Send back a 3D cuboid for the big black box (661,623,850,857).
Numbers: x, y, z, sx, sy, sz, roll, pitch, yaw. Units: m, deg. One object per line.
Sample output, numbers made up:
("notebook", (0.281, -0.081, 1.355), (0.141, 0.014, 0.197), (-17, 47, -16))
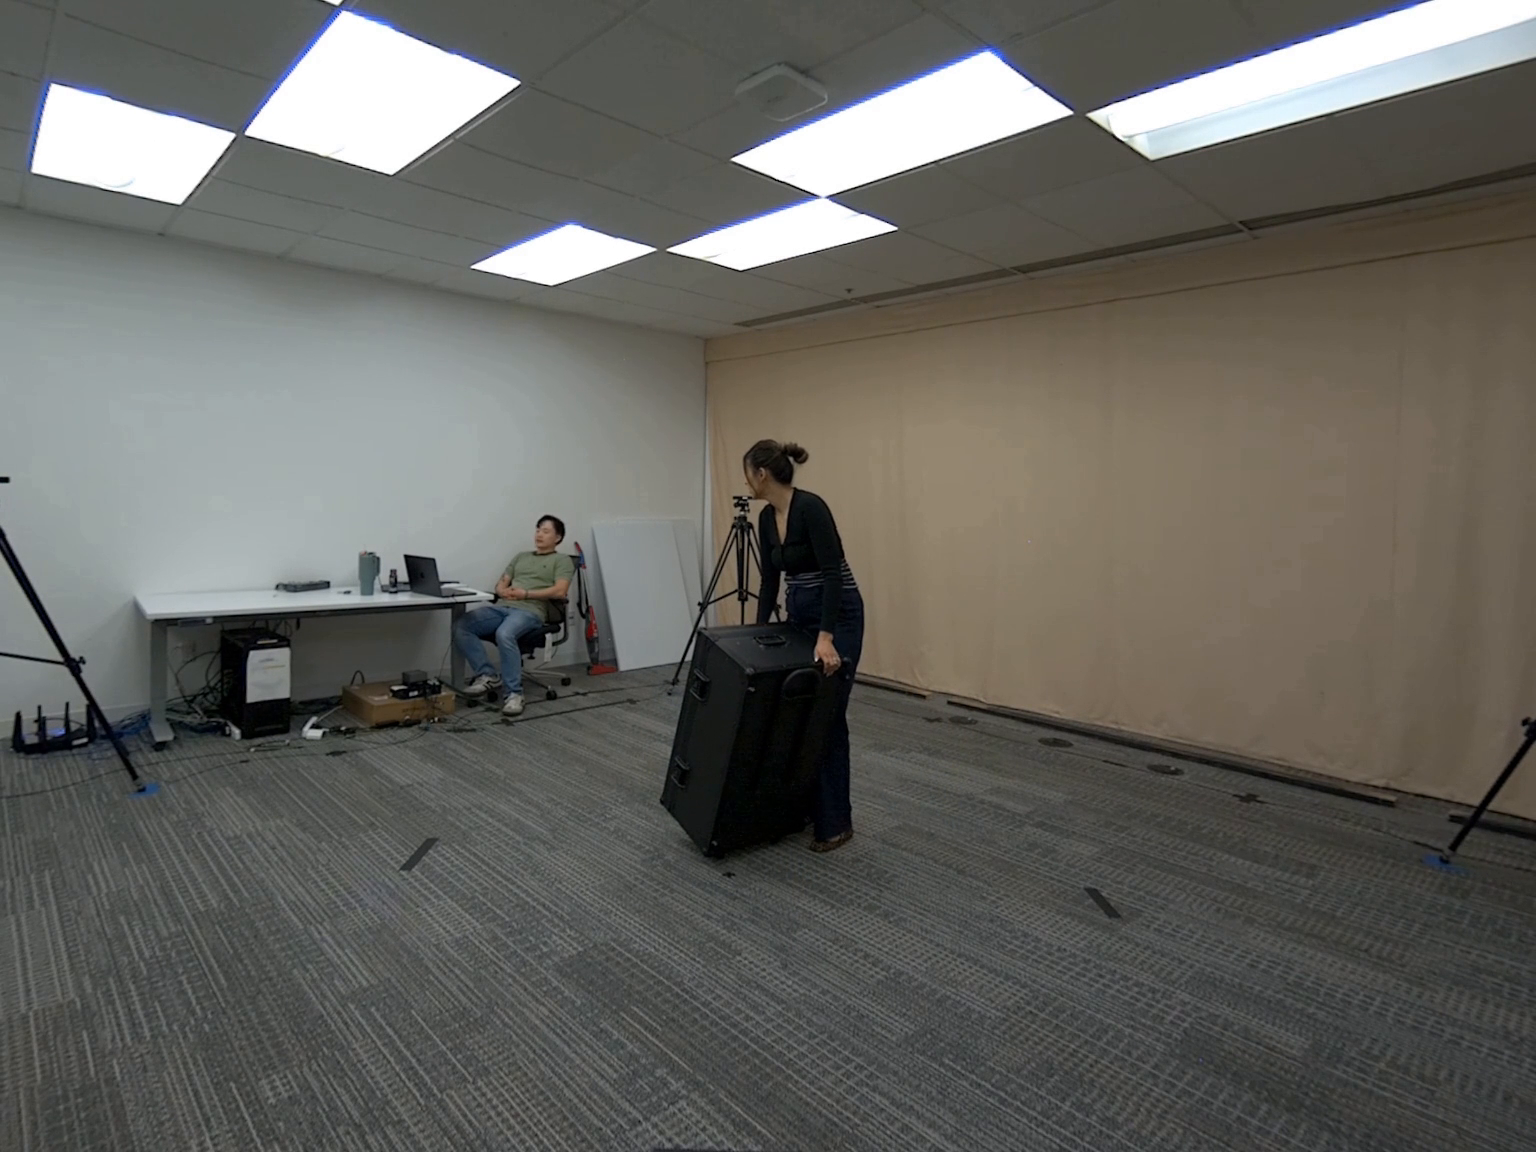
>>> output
("big black box", (-0.061, 0.599, 3.252), (0.509, 0.853, 0.409), (-1, 21, -36))
